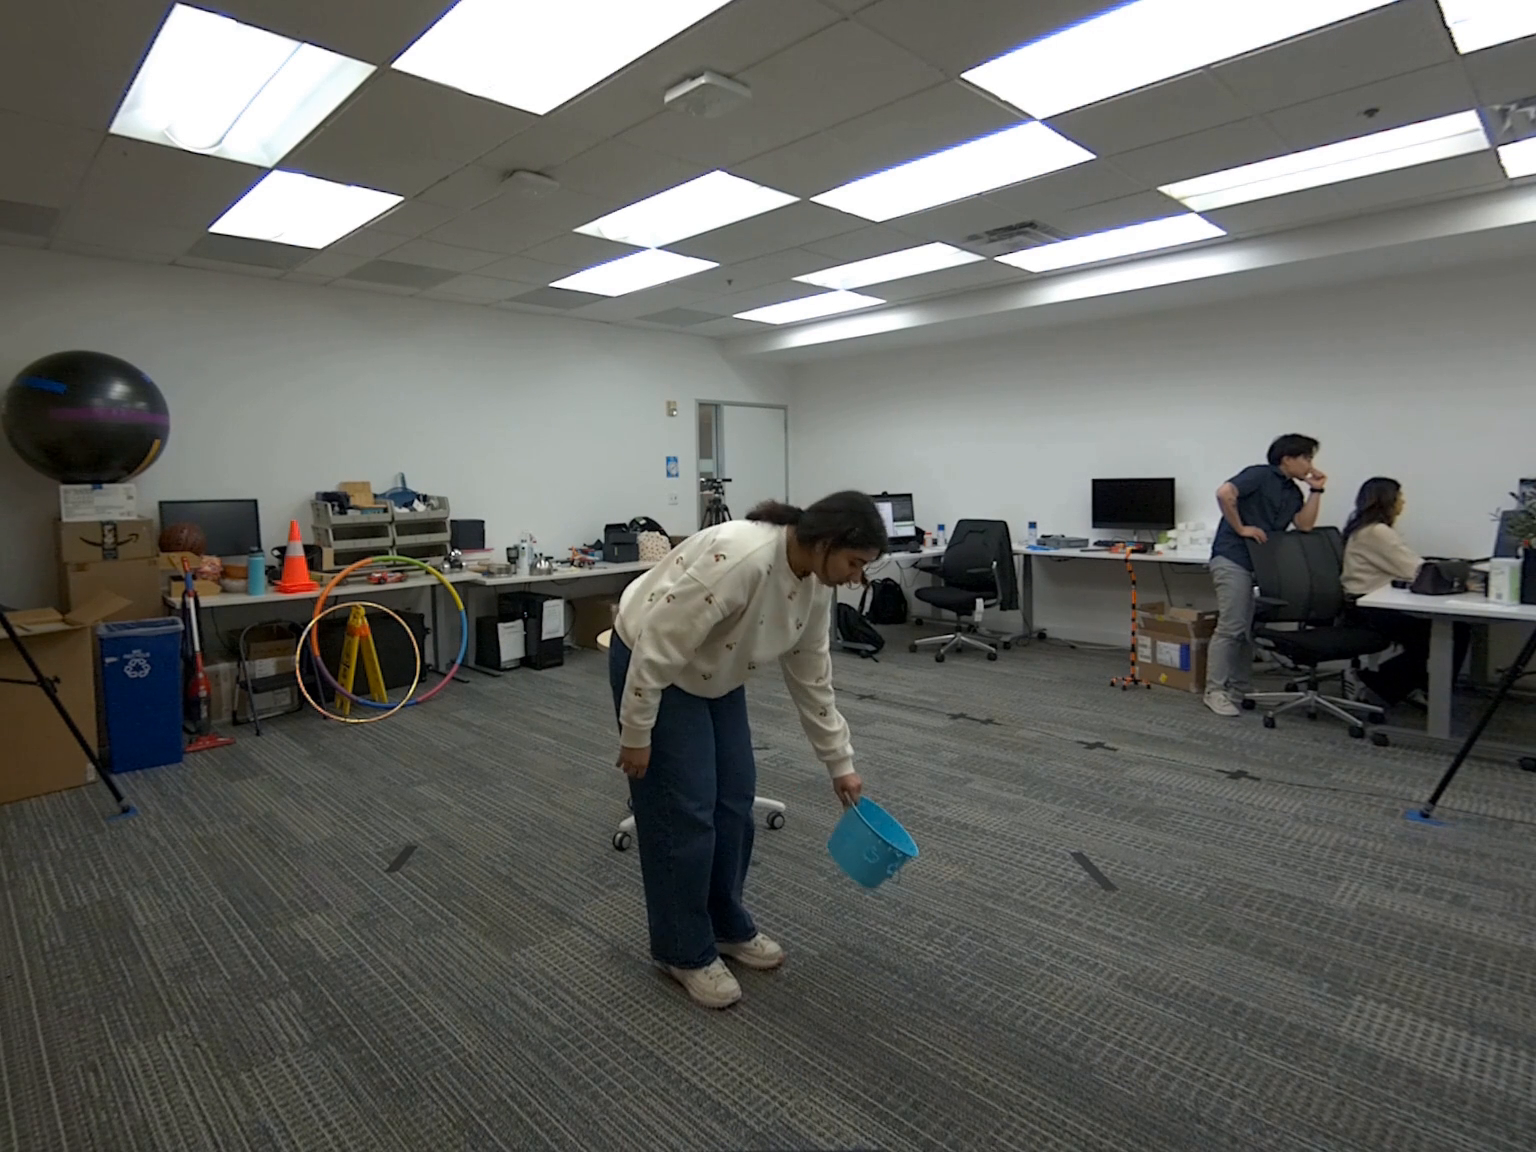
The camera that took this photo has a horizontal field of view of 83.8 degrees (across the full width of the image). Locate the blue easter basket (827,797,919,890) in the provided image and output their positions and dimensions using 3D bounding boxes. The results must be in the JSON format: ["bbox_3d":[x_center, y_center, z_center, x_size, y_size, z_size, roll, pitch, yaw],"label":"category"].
[{"bbox_3d":[0.280,0.751,2.385,0.241,0.155,0.247,36,10,-9],"label":"blue easter basket"}]
